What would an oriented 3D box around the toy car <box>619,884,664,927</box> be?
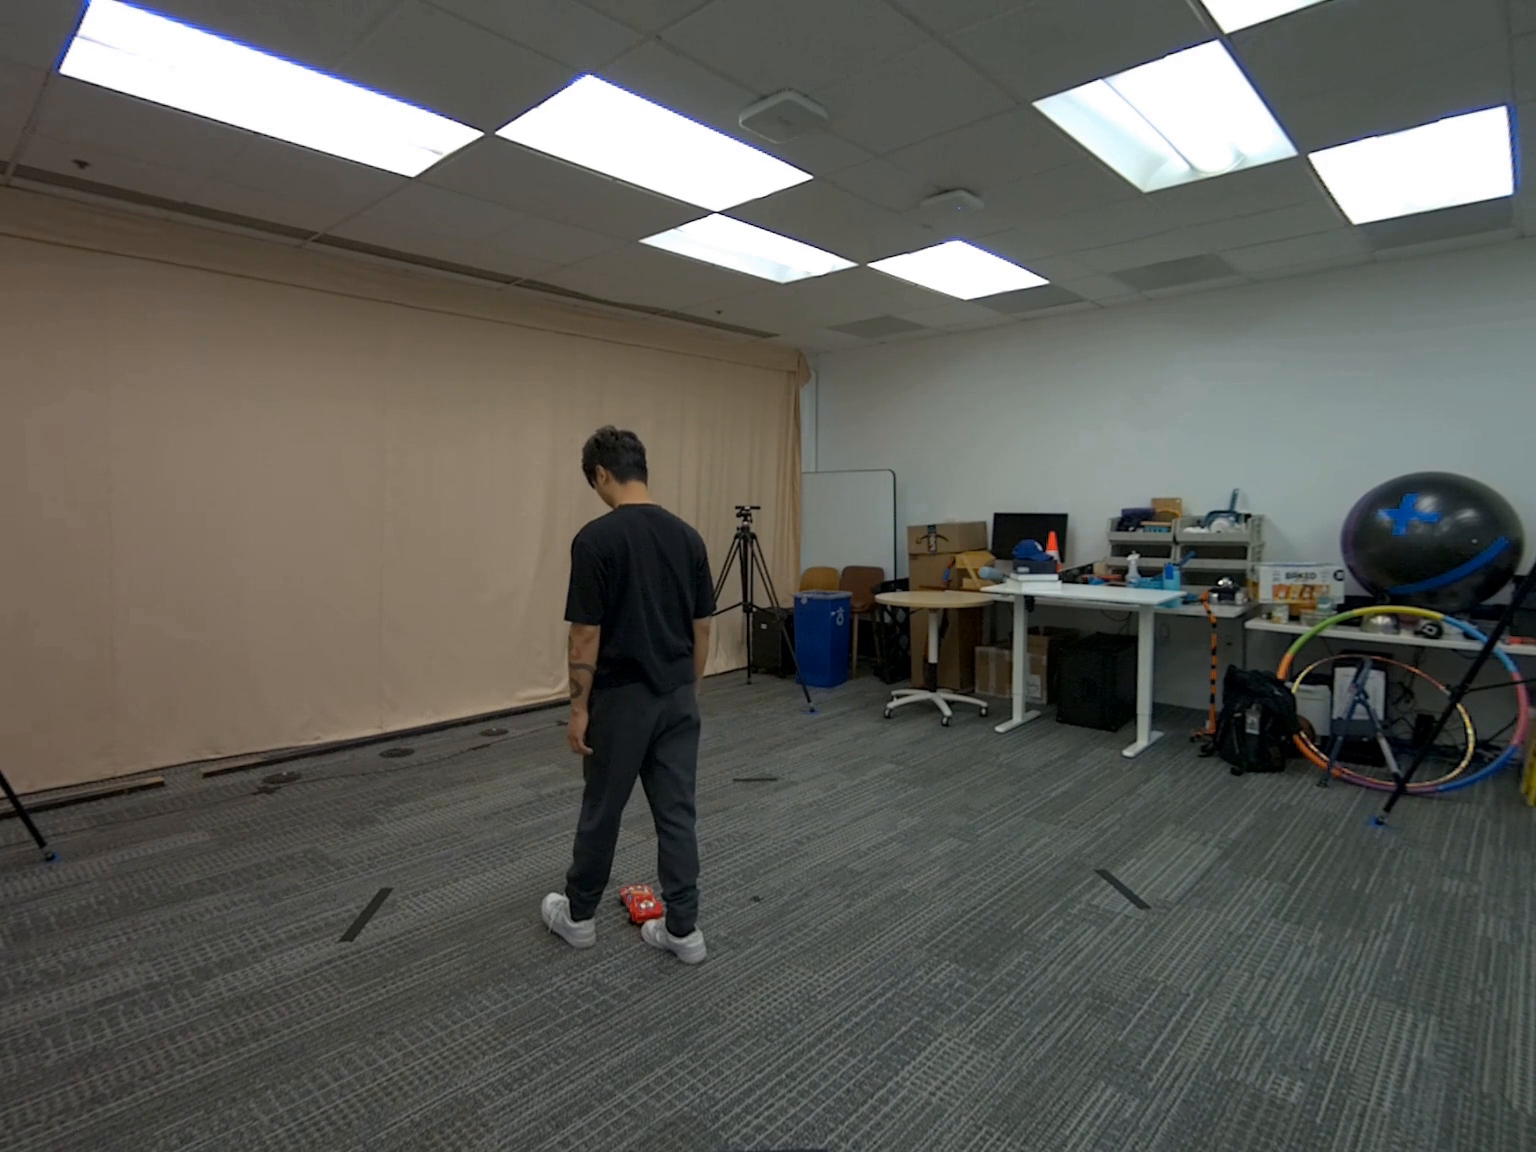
[{"bbox_3d":[-0.436,1.125,2.874,0.128,0.083,0.258,-2,-6,-21],"label":"toy car"}]
